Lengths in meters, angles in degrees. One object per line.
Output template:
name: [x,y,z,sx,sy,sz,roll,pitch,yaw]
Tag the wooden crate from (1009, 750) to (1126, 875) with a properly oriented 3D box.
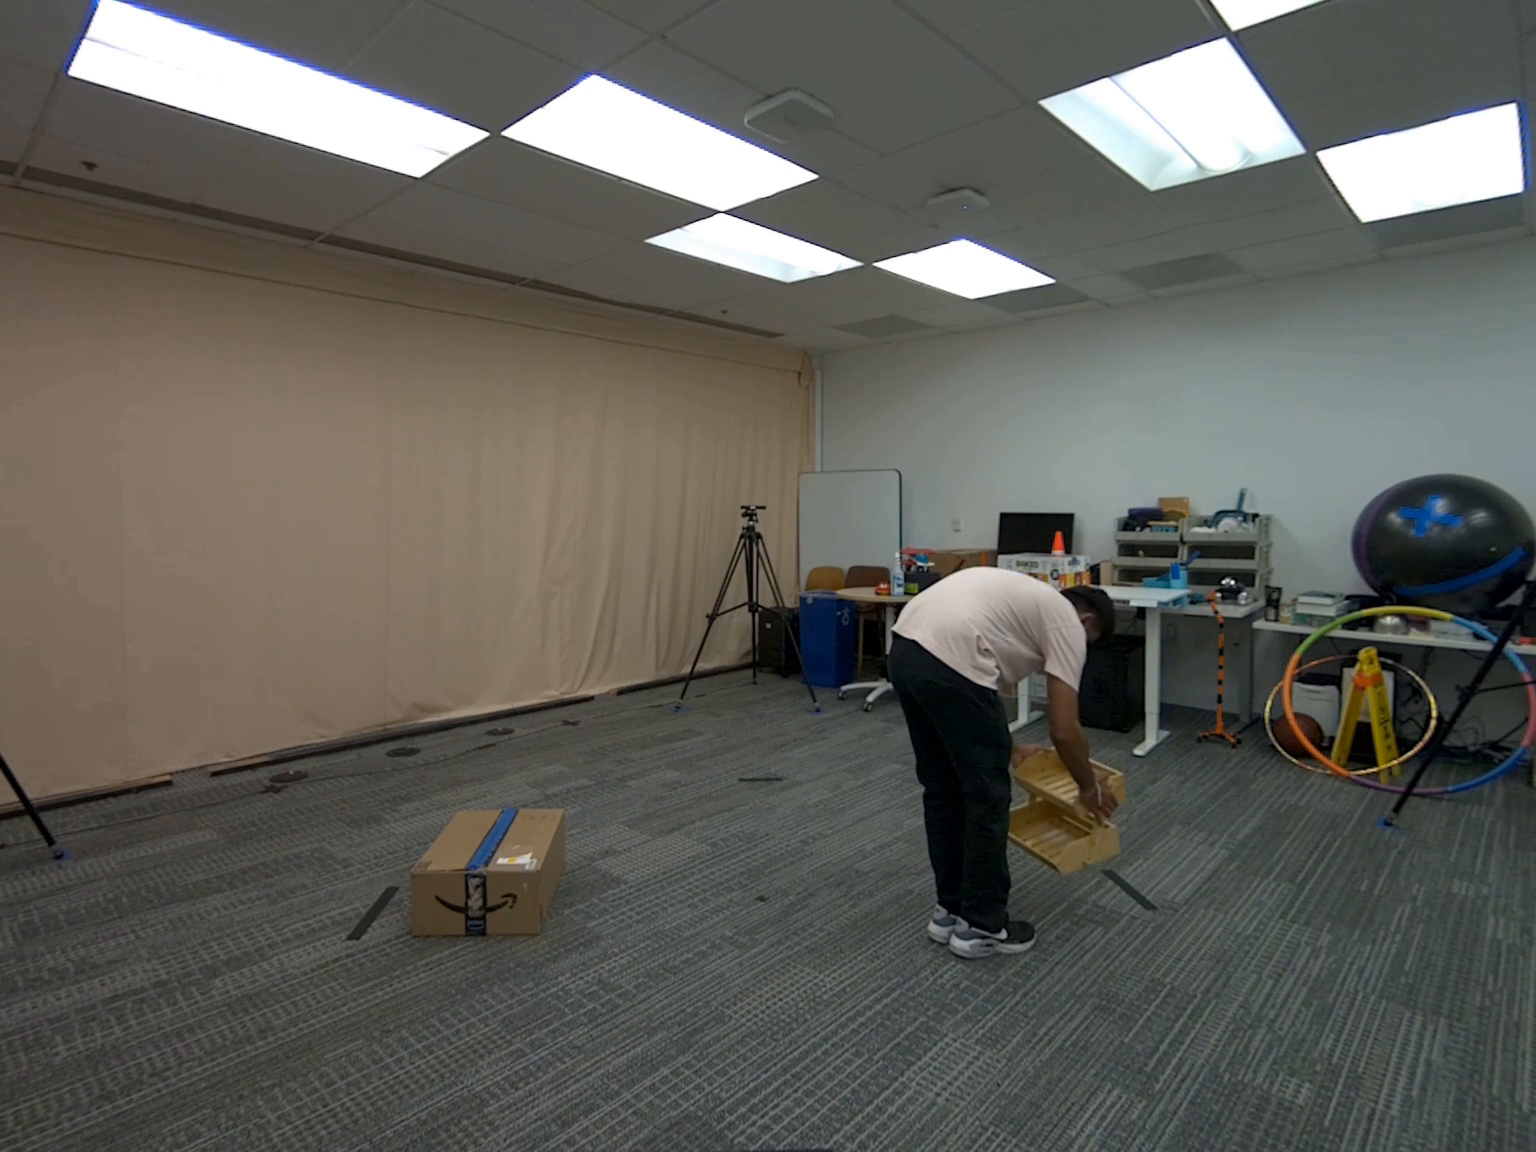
wooden crate: [0.969,0.767,2.833,0.297,0.271,0.332,-13,10,-19]
